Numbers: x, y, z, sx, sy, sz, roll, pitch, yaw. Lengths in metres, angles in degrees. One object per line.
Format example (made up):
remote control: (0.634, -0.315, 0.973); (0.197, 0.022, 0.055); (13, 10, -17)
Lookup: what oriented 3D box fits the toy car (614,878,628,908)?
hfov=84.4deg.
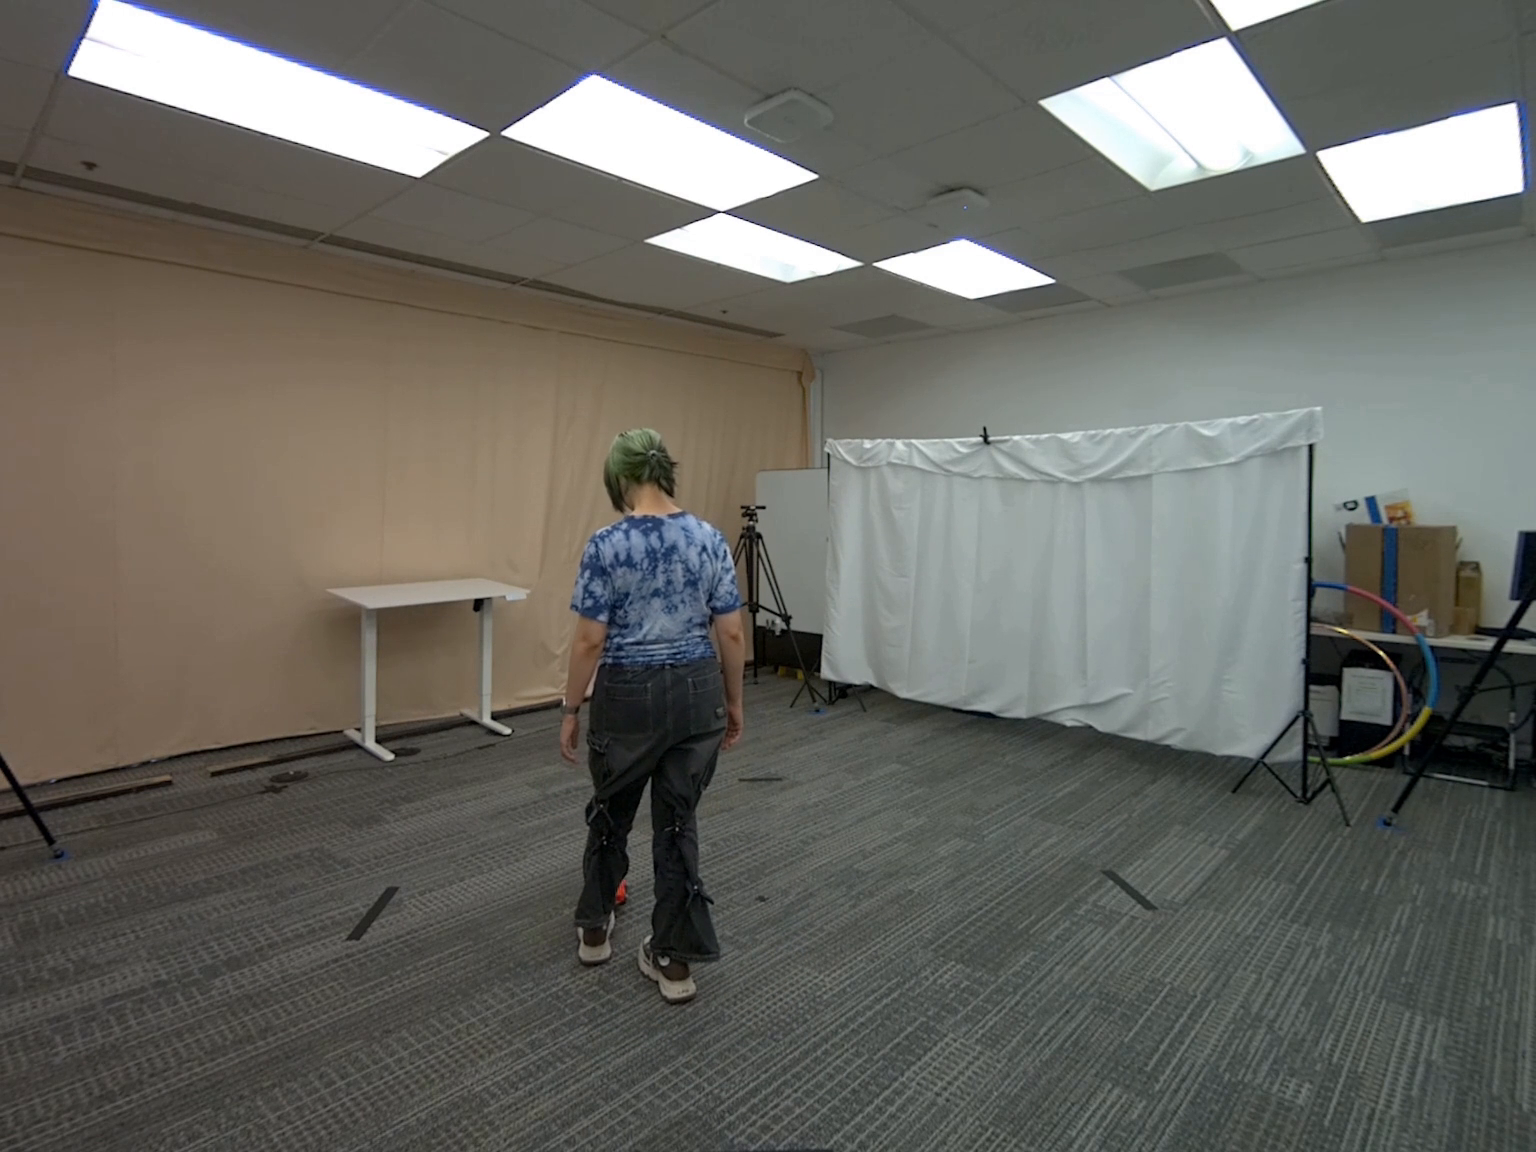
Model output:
toy car: (-0.563, 1.110, 2.946); (0.130, 0.084, 0.253); (2, -15, -5)
